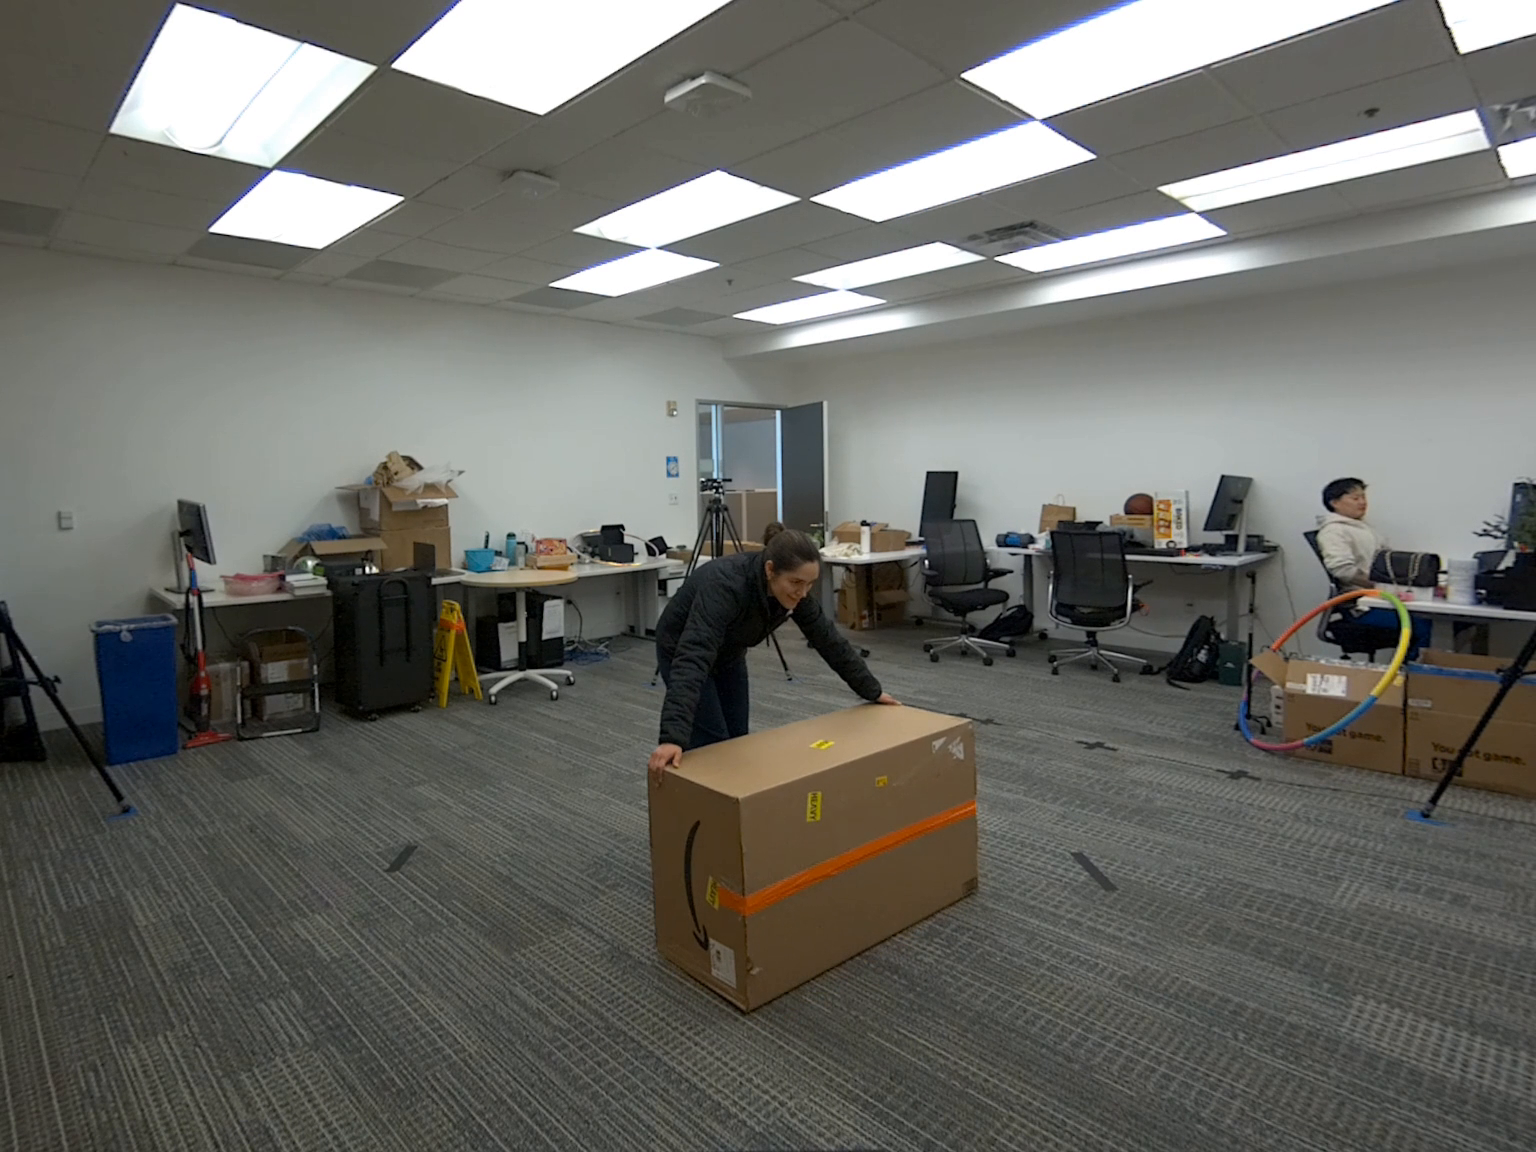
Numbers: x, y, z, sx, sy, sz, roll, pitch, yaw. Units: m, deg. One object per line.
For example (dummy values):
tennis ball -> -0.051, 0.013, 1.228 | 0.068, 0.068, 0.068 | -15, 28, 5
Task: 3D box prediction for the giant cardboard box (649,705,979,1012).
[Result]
giant cardboard box -> 0.171, 0.799, 2.697 | 1.001, 0.581, 0.460 | -7, 7, -41
